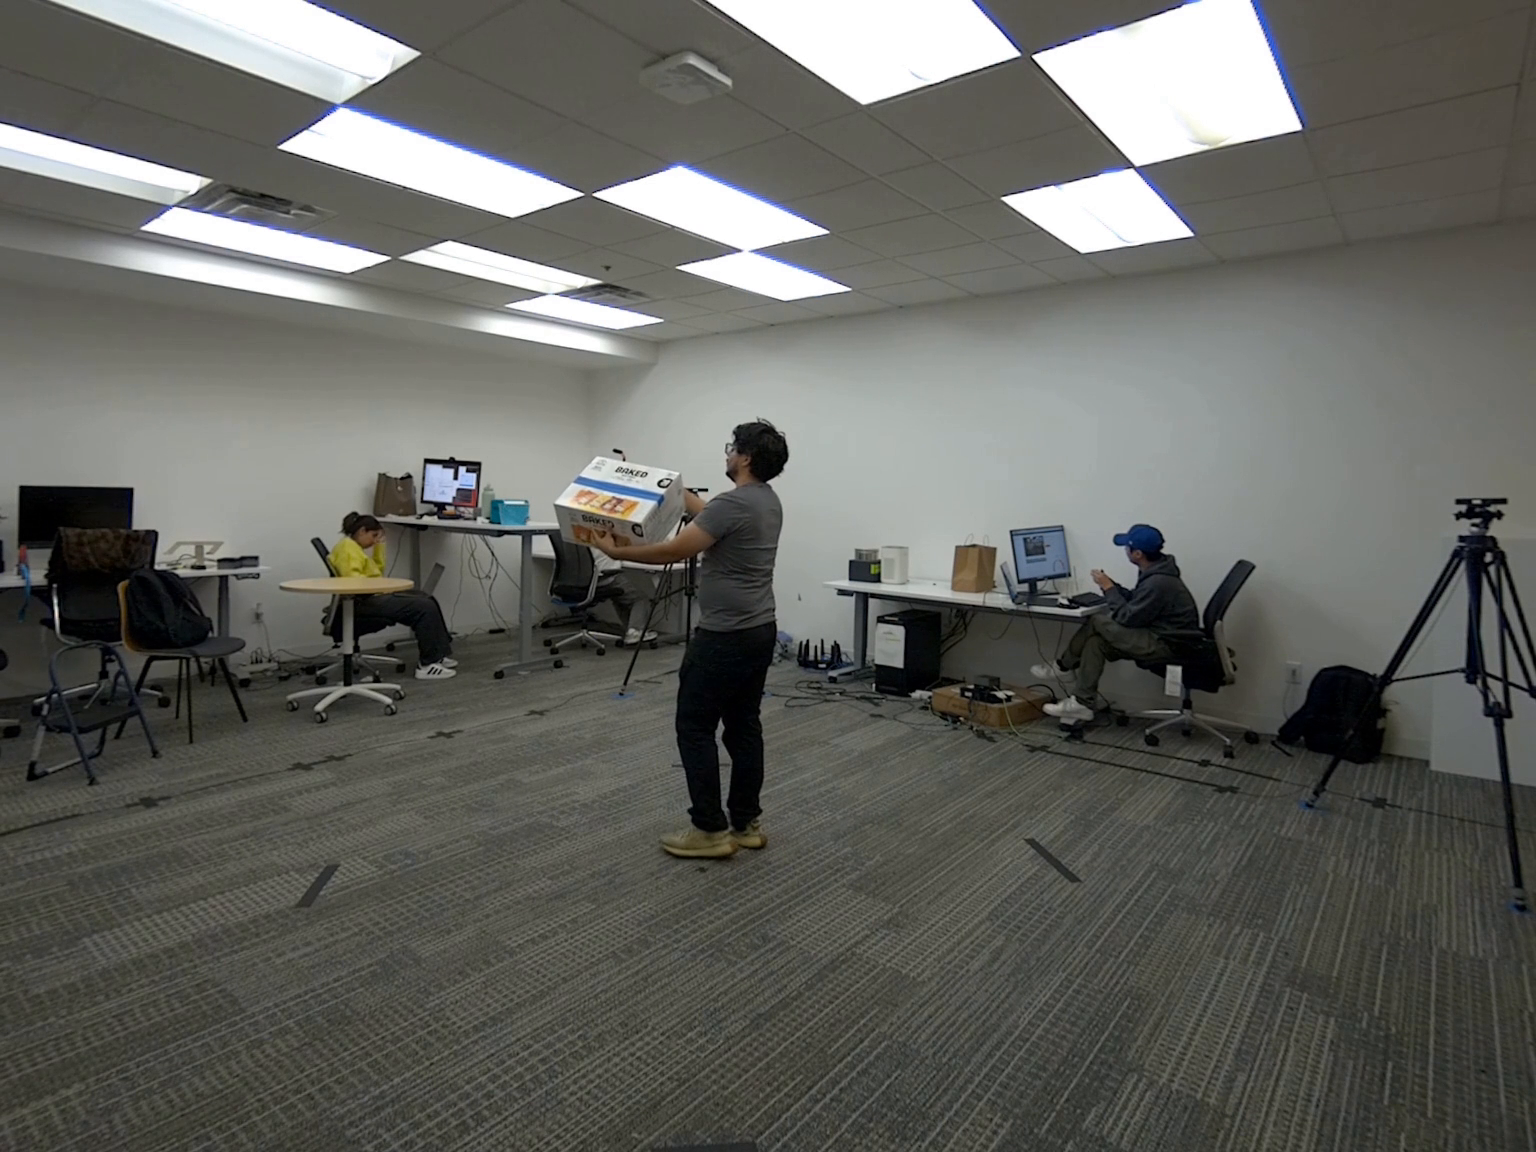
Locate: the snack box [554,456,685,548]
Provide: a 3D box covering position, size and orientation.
[{"bbox_3d":[-0.617,-0.287,3.499,0.415,0.199,0.343,13,46,20],"label":"snack box"}]
